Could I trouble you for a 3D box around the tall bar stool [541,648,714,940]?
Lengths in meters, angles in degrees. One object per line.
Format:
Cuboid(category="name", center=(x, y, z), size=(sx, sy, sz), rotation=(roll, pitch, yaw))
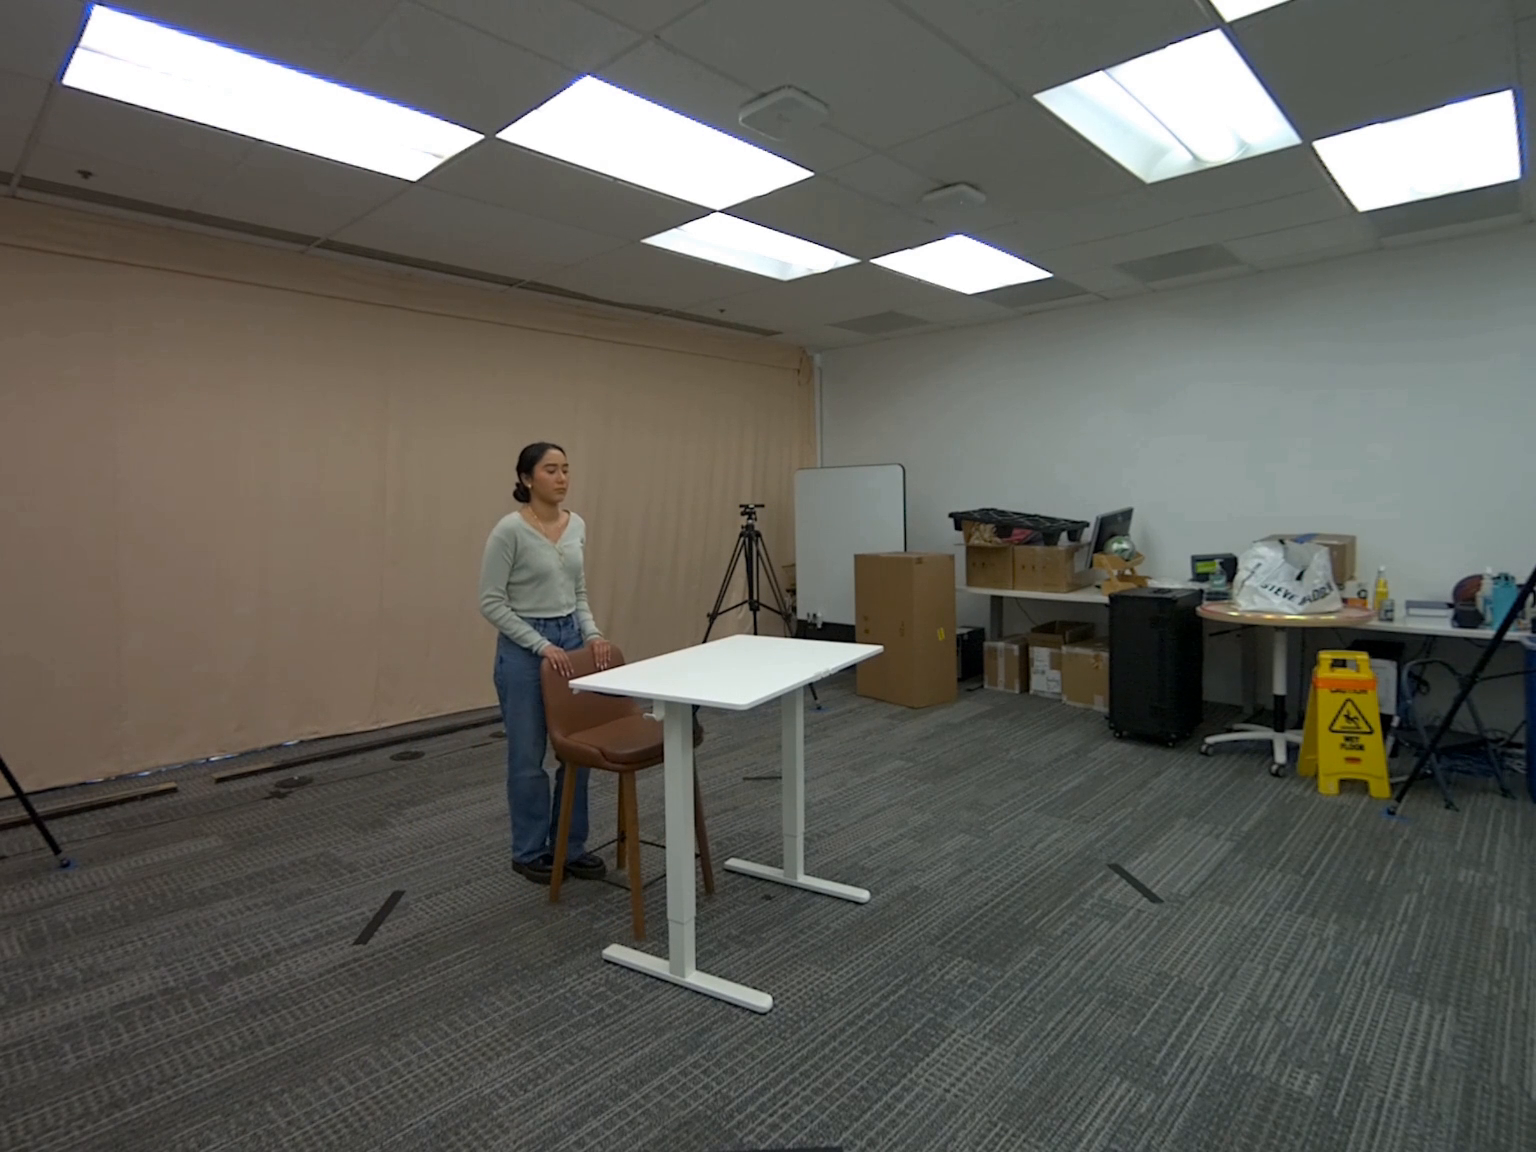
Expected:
Cuboid(category="tall bar stool", center=(-0.509, 0.713, 2.971), size=(0.482, 0.888, 0.443), rotation=(-2, 3, 36))
